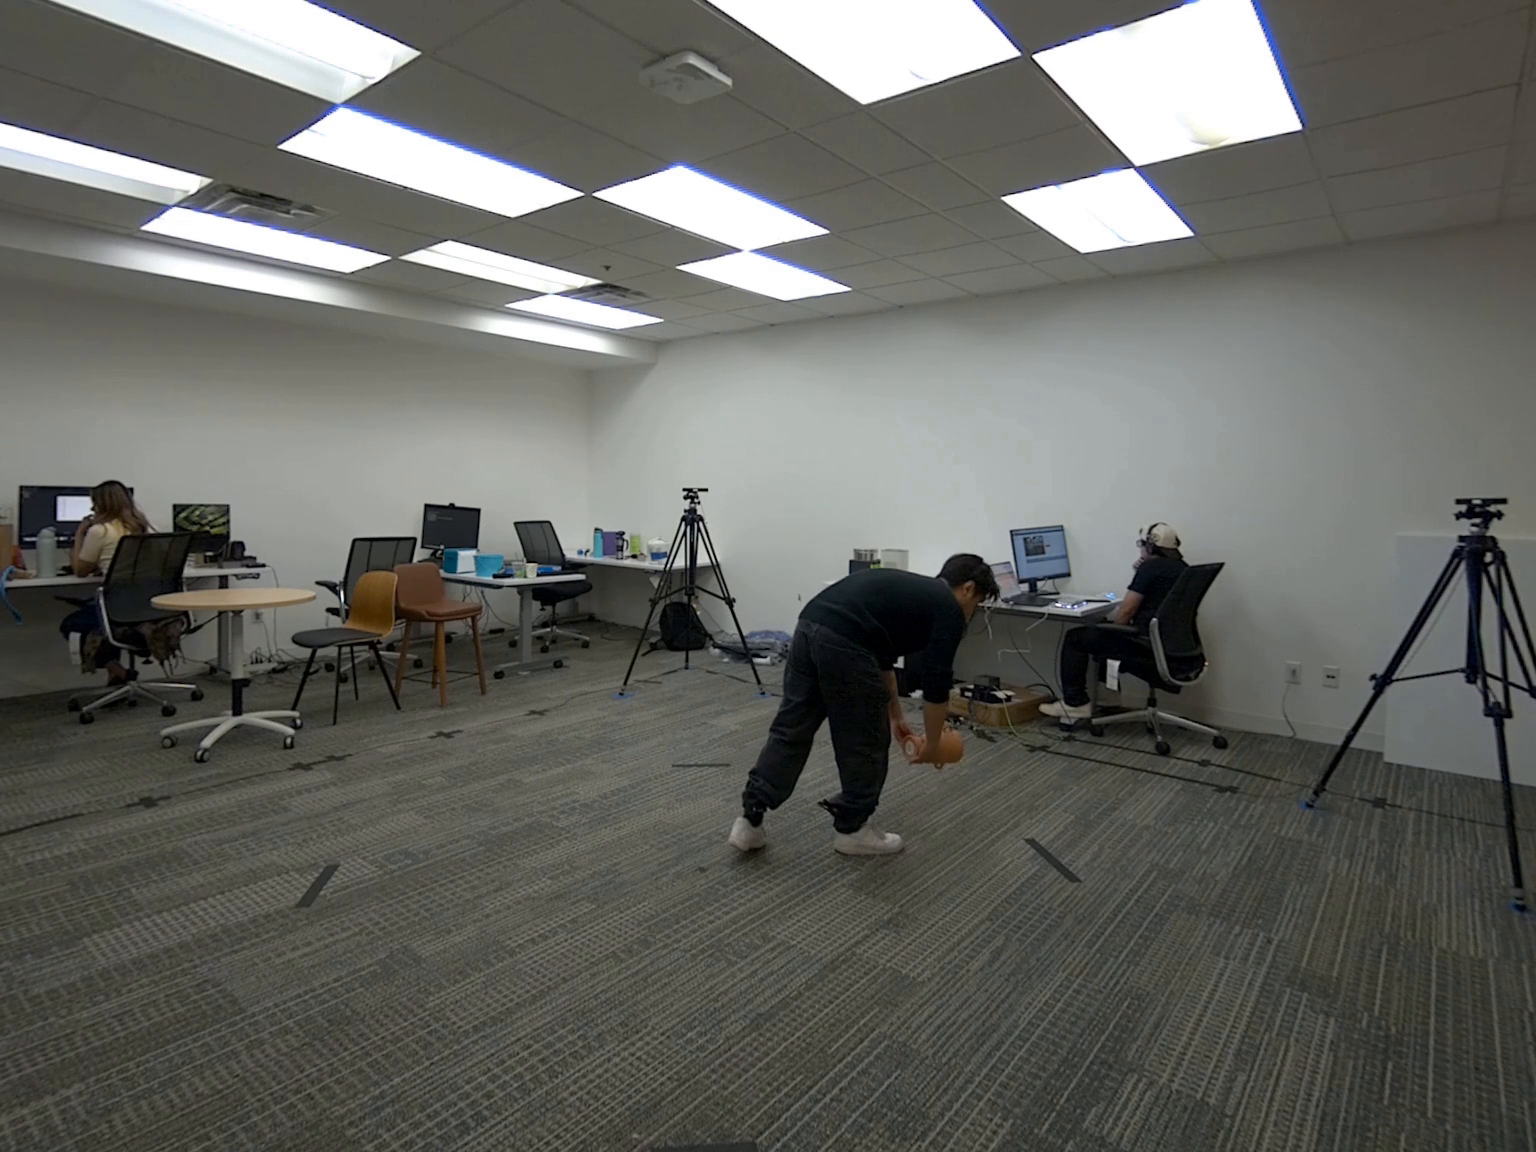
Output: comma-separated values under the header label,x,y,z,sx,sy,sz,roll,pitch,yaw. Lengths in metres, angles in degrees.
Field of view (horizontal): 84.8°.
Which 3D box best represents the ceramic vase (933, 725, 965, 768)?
label,x,y,z,sx,sy,sz,roll,pitch,yaw
ceramic vase,0.645,0.678,3.395,0.214,0.163,0.135,3,-25,-25
